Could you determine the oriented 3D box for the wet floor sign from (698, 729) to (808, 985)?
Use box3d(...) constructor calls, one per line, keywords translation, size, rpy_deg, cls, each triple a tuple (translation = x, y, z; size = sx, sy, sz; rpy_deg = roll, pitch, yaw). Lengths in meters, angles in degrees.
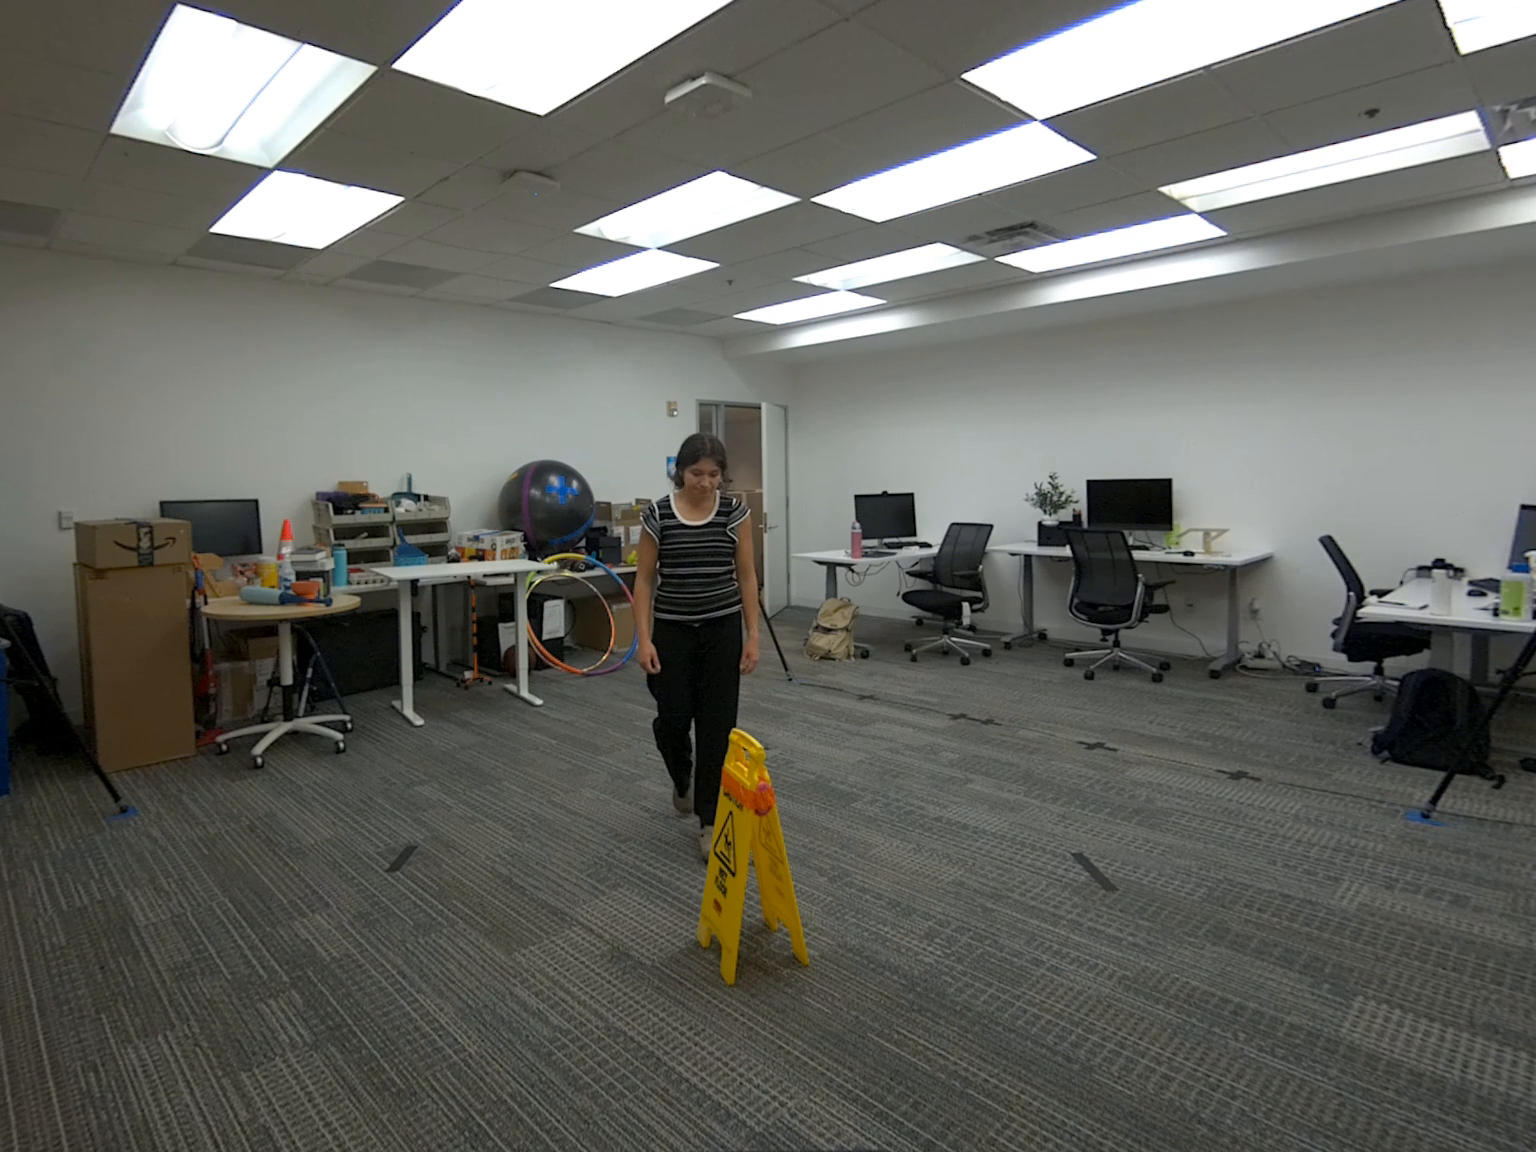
box3d(translation=(-0.057, 0.794, 2.500), size=(0.284, 0.643, 0.289), rpy_deg=(-3, 5, -23), cls="wet floor sign")
